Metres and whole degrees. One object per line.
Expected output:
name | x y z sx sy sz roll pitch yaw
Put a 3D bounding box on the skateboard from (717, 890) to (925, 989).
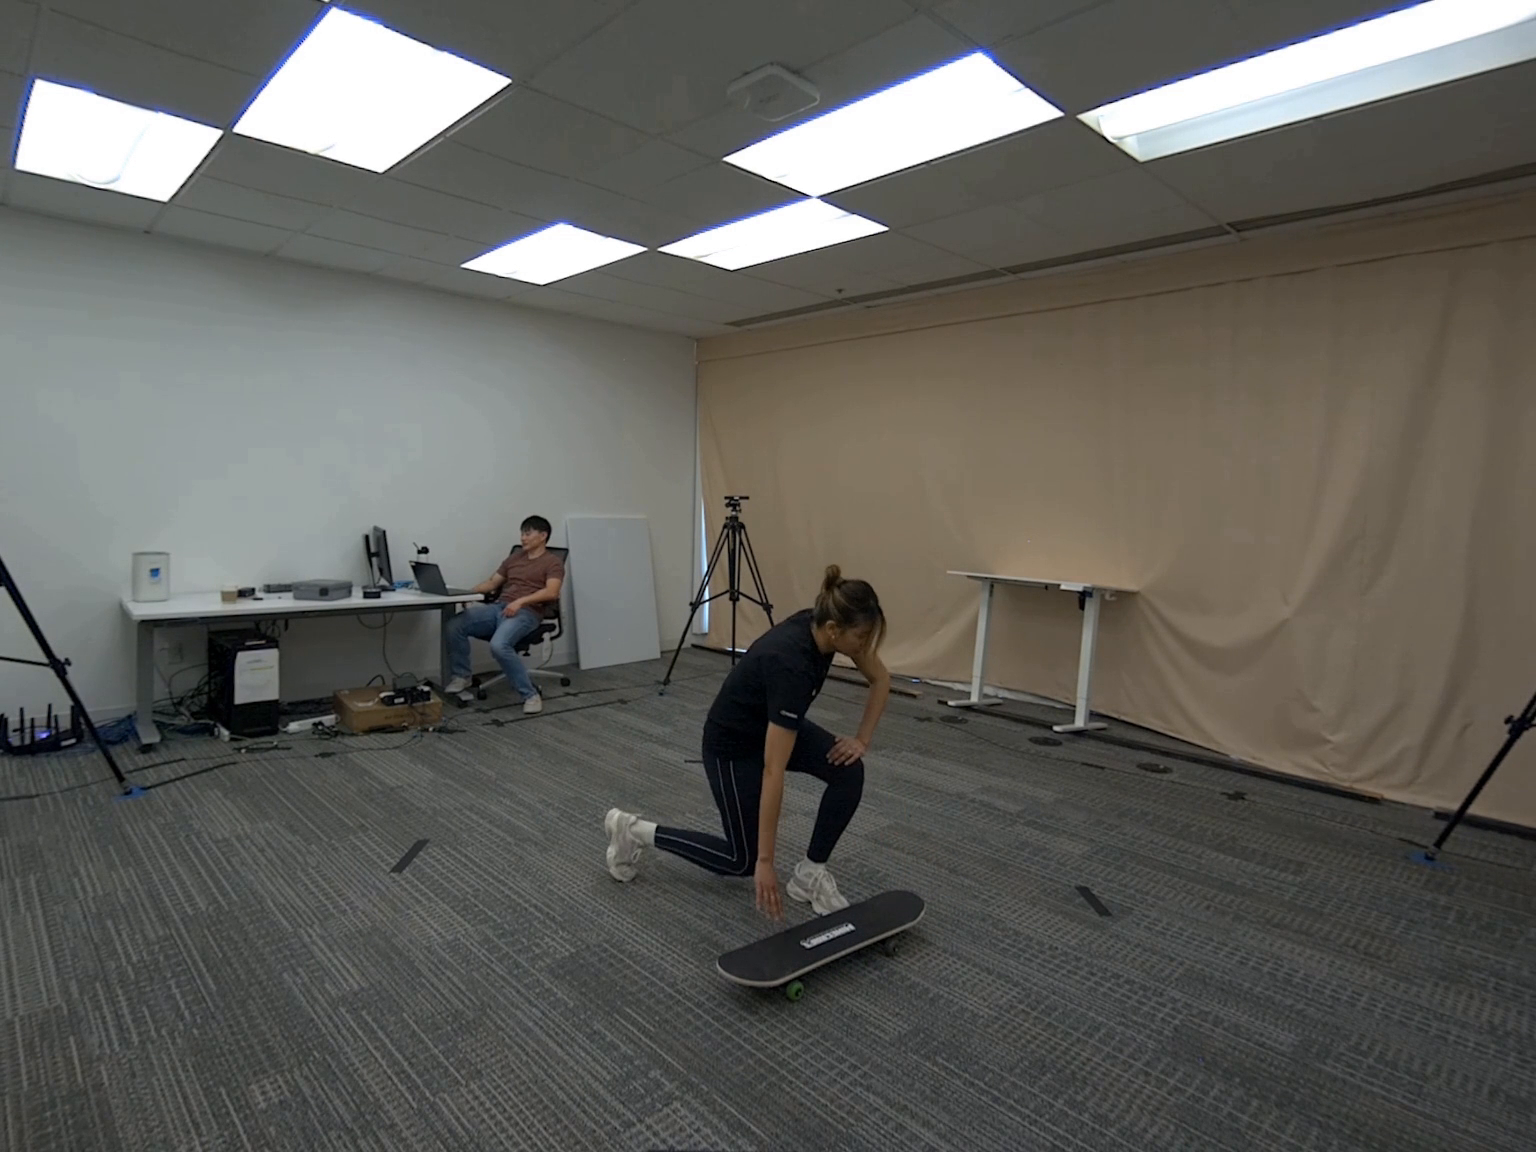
skateboard | 0.174 1.103 2.528 0.768 0.110 0.198 -3 6 -38
